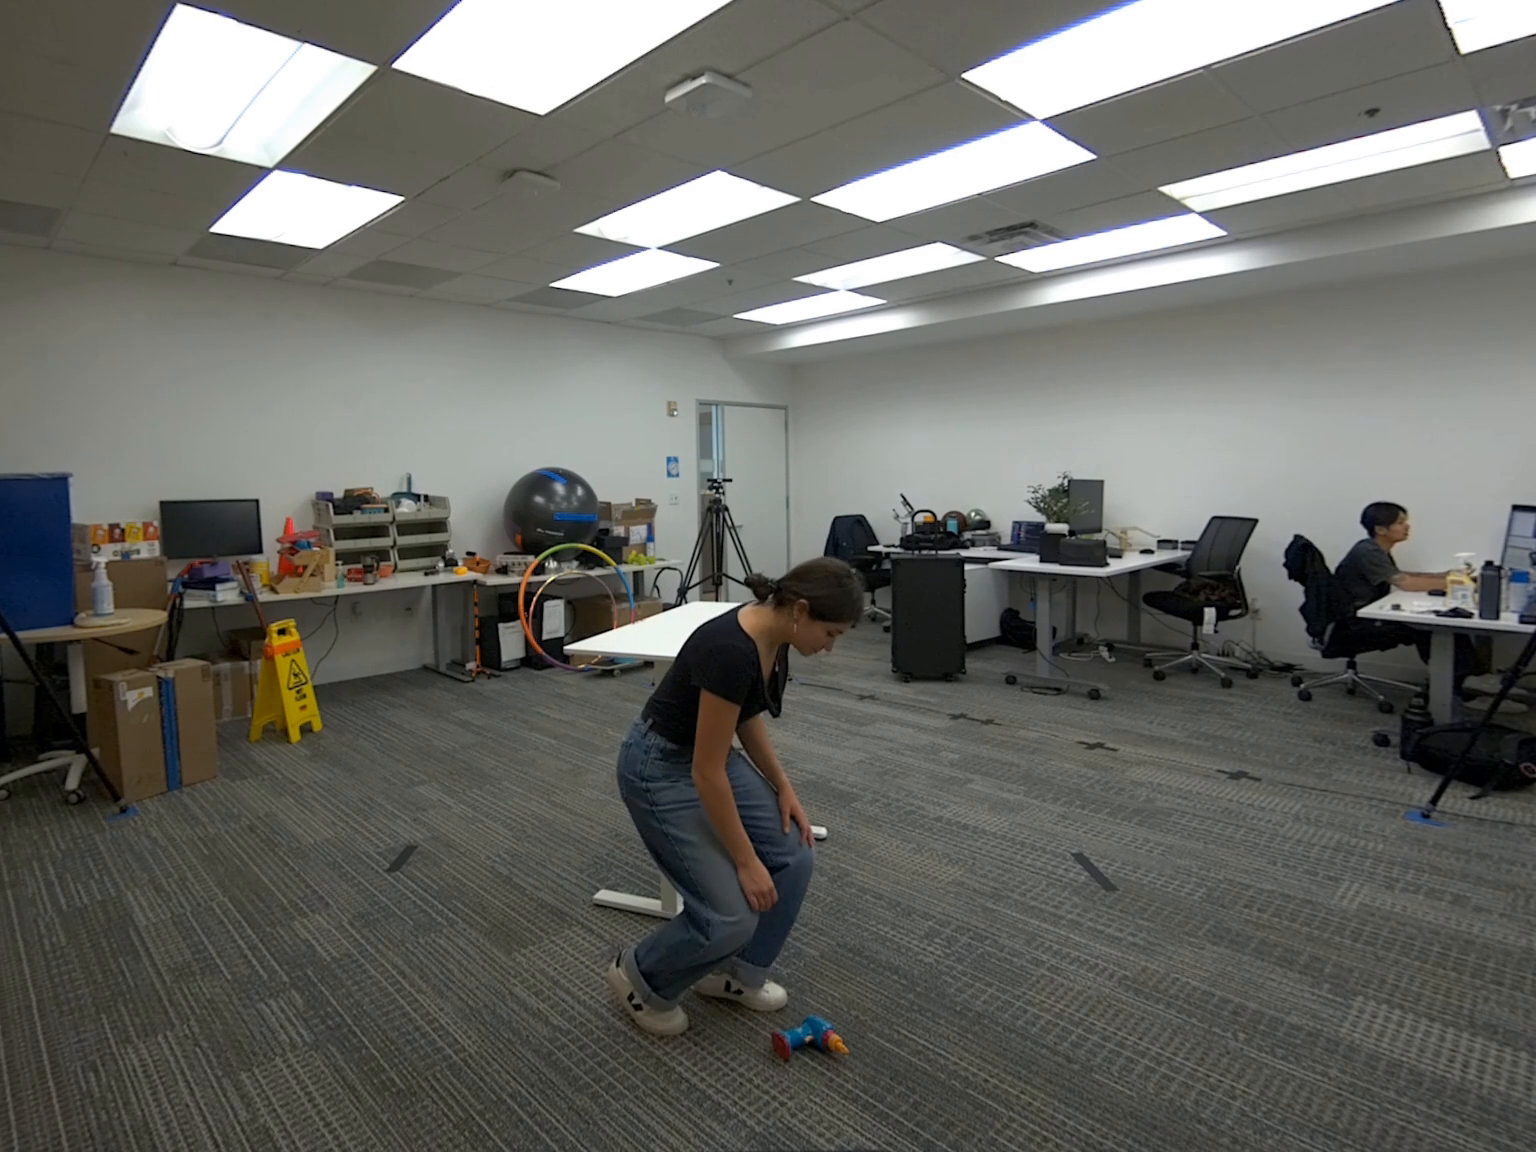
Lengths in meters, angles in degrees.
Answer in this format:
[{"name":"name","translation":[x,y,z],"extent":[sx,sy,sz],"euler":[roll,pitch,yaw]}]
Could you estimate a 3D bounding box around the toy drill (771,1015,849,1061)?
[{"name":"toy drill","translation":[0.110,1.134,2.078],"extent":[0.142,0.061,0.175],"euler":[-2,7,-33]}]
